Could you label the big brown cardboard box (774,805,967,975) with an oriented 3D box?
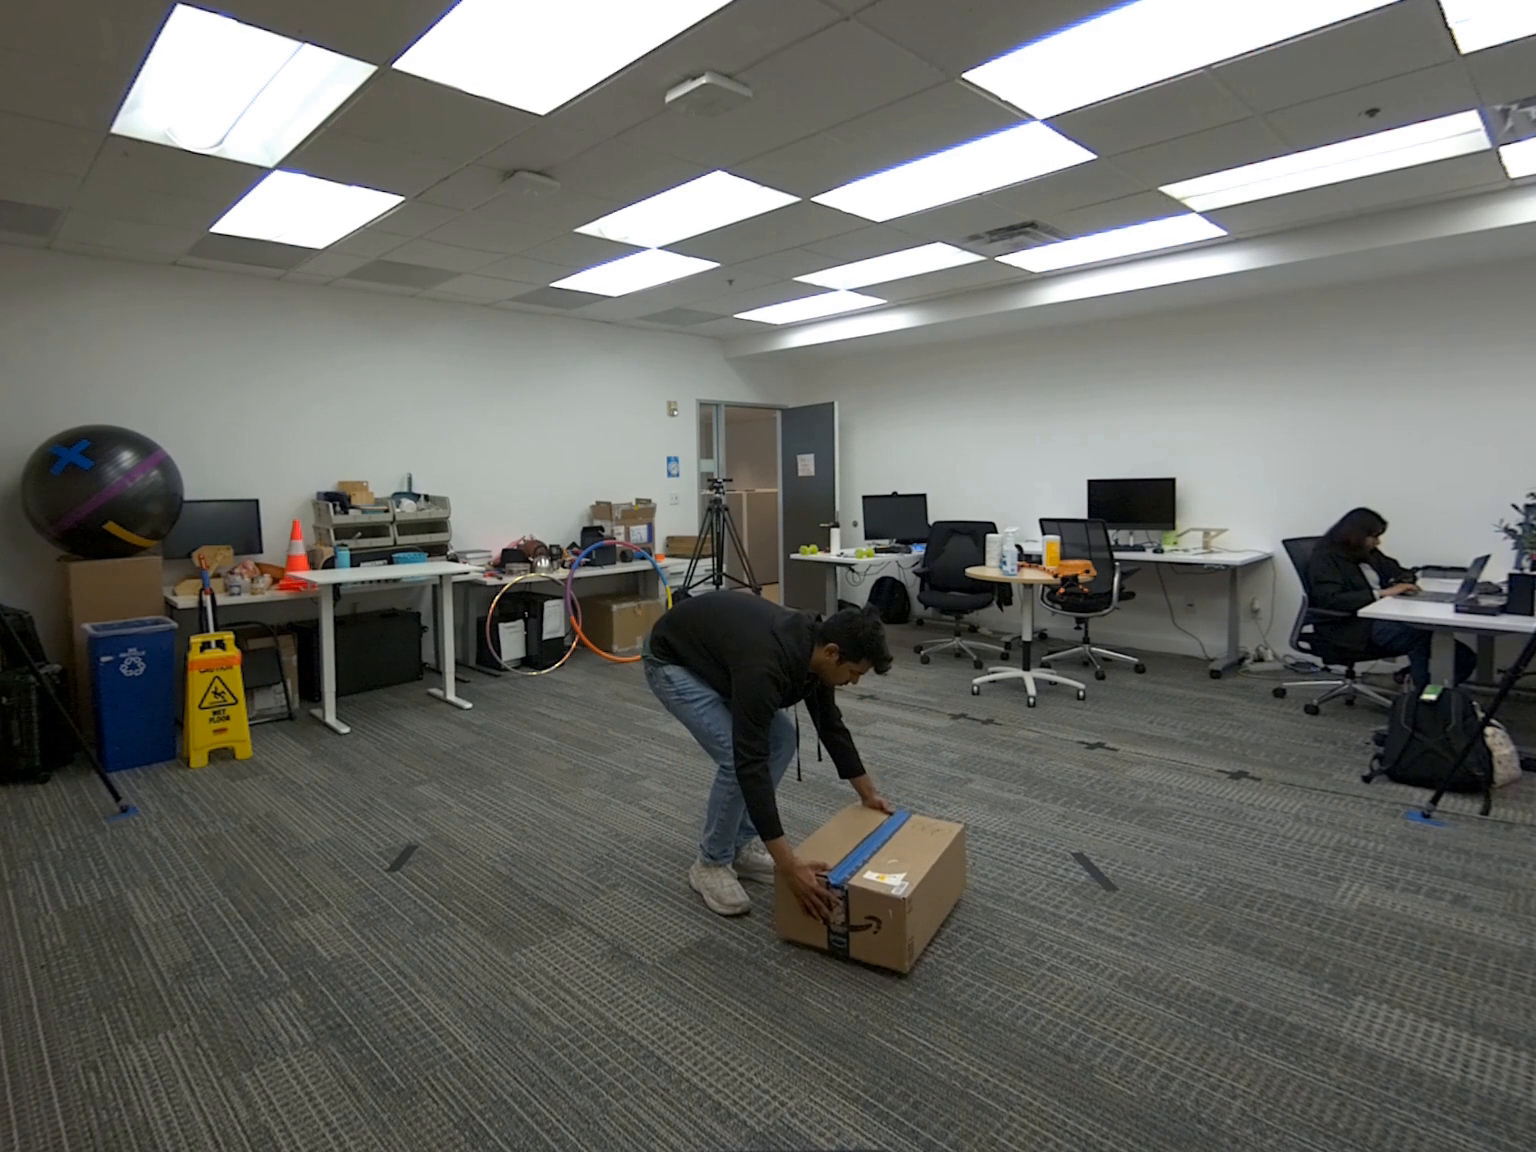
[{"bbox_3d":[0.333,0.946,2.682,0.429,0.232,0.575,2,6,31],"label":"big brown cardboard box"}]
